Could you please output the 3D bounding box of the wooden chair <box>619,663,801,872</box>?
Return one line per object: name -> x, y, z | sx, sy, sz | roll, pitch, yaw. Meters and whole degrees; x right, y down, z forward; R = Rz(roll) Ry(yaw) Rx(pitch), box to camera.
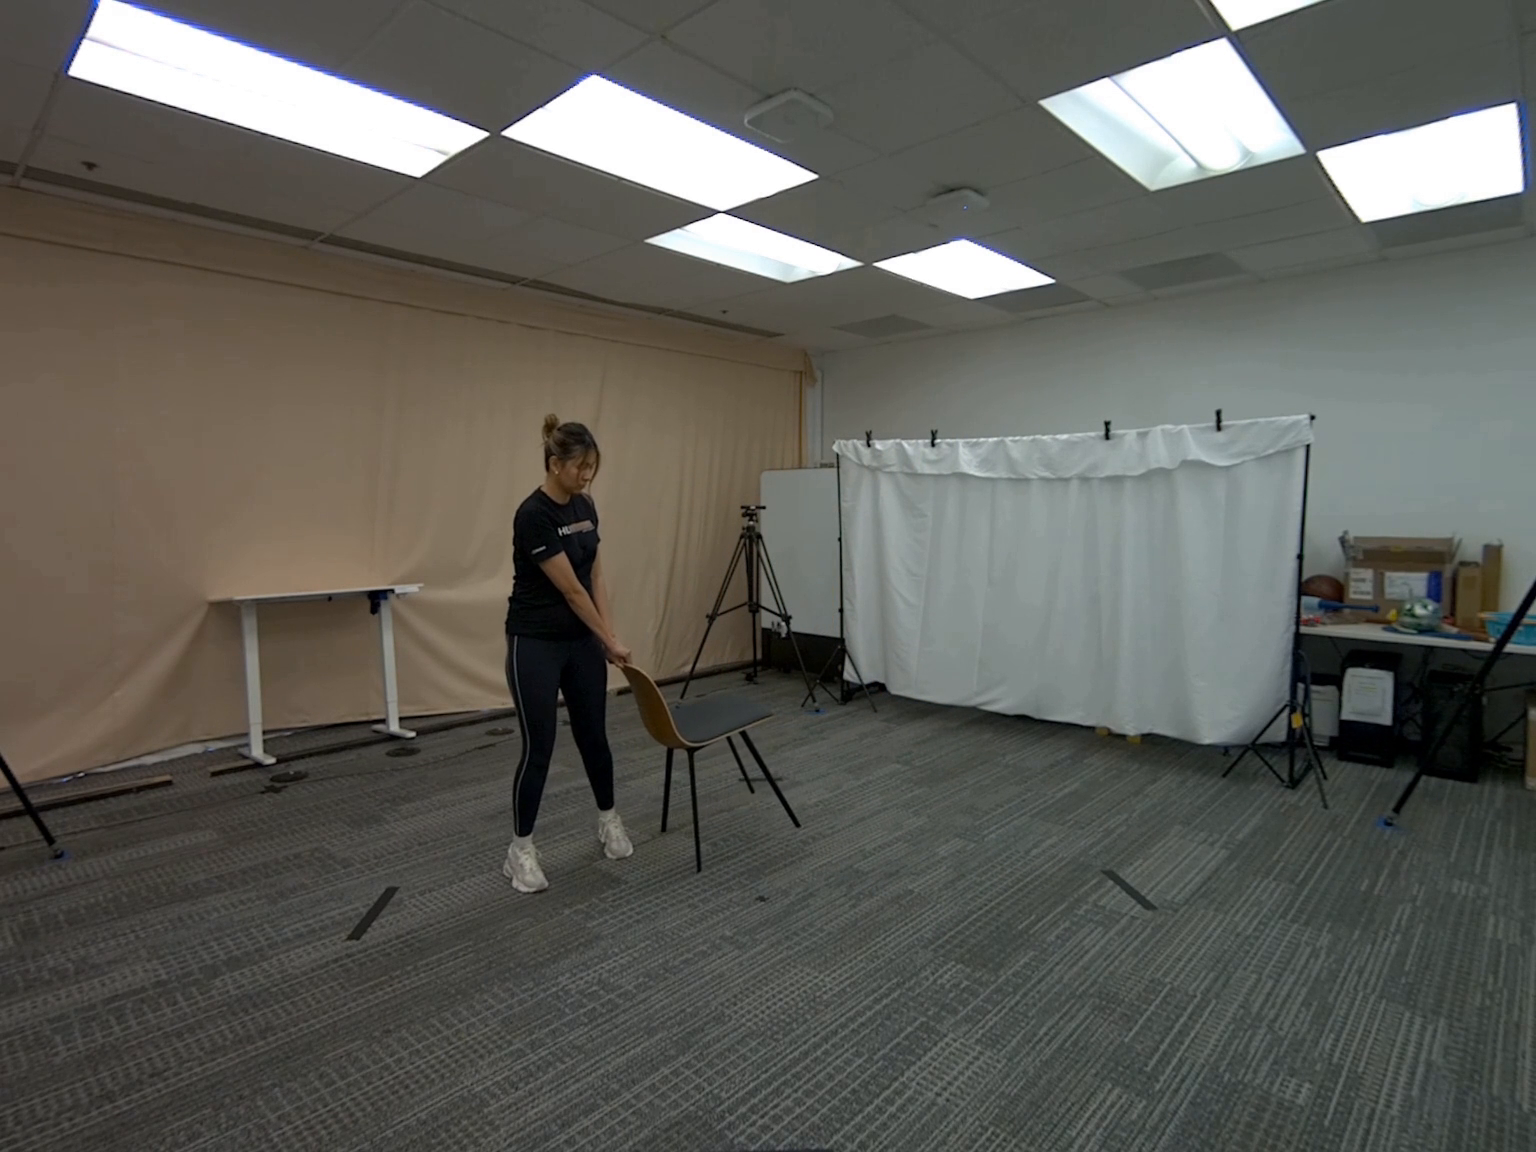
wooden chair -> -0.252, 0.637, 3.414 | 0.515, 0.869, 0.490 | -22, 11, -21
